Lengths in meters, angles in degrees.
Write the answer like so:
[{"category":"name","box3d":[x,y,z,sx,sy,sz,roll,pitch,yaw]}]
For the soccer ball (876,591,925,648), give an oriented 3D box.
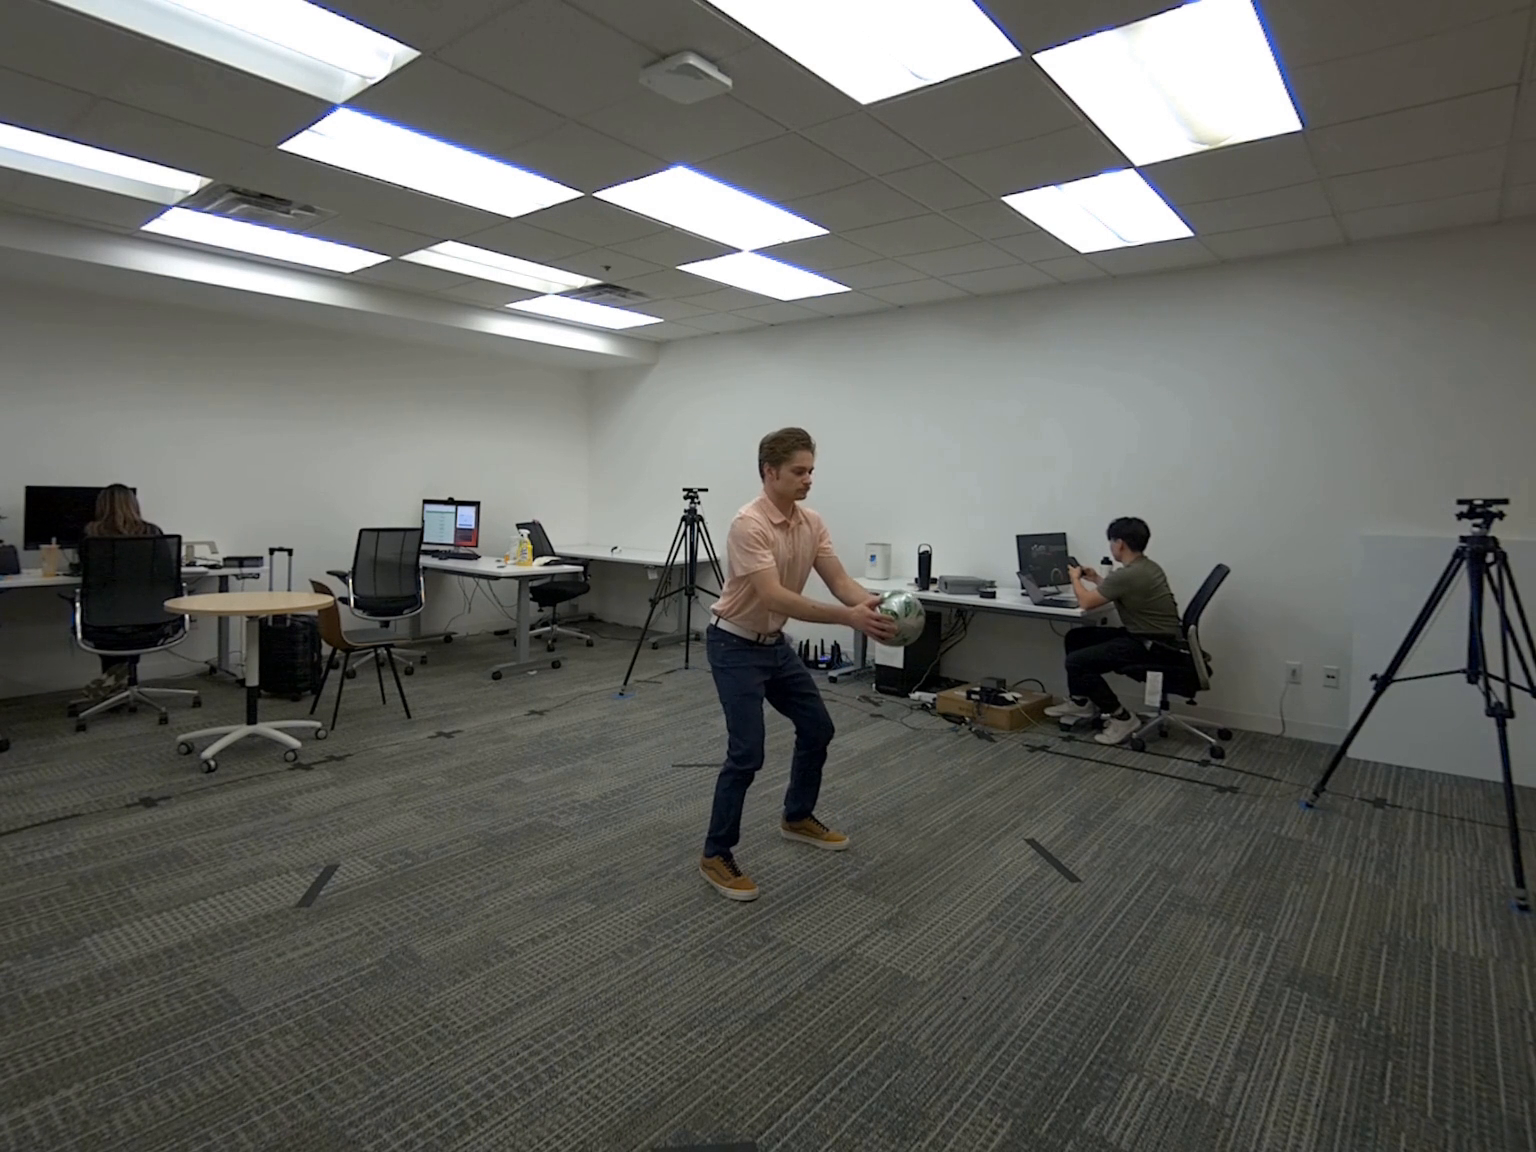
[{"category":"soccer ball","box3d":[0.416,0.144,2.814,0.187,0.187,0.188,1,4,-2]}]
